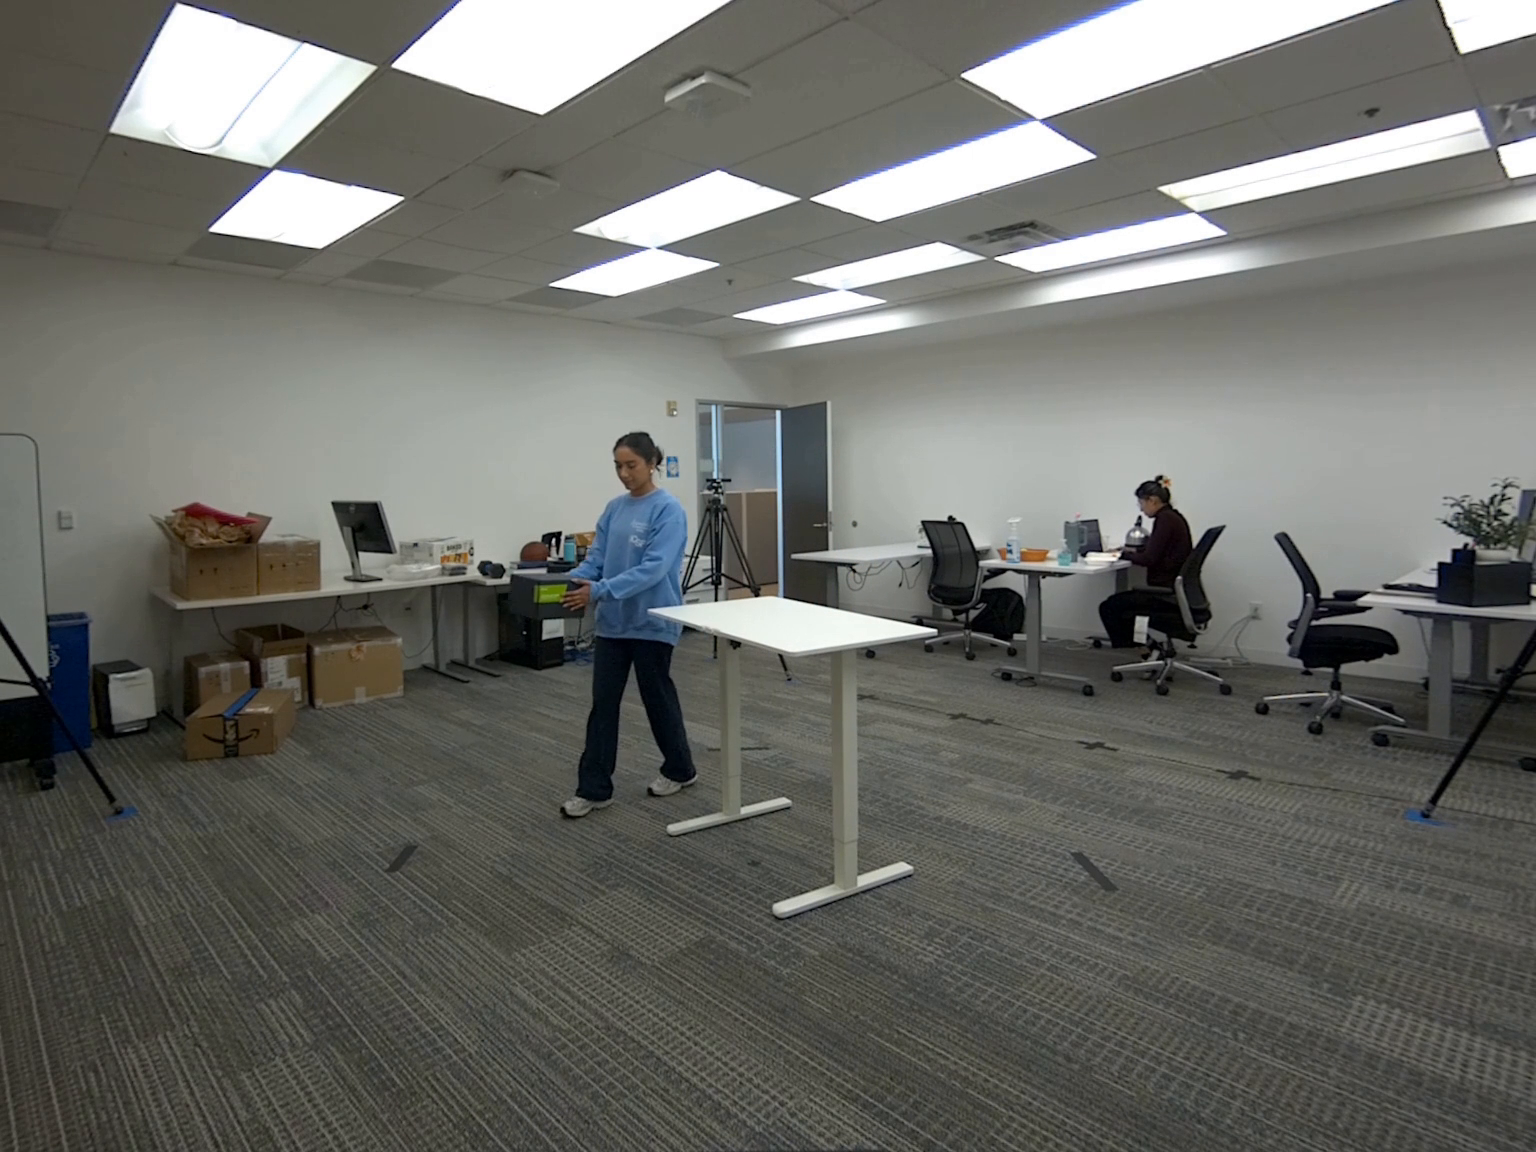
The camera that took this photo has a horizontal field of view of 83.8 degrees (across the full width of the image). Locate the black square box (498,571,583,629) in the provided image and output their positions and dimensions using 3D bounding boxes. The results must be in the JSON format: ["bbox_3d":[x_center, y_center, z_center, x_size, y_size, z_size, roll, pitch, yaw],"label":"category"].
[{"bbox_3d":[-0.885,0.077,3.424,0.224,0.155,0.221,9,6,42],"label":"black square box"}]
